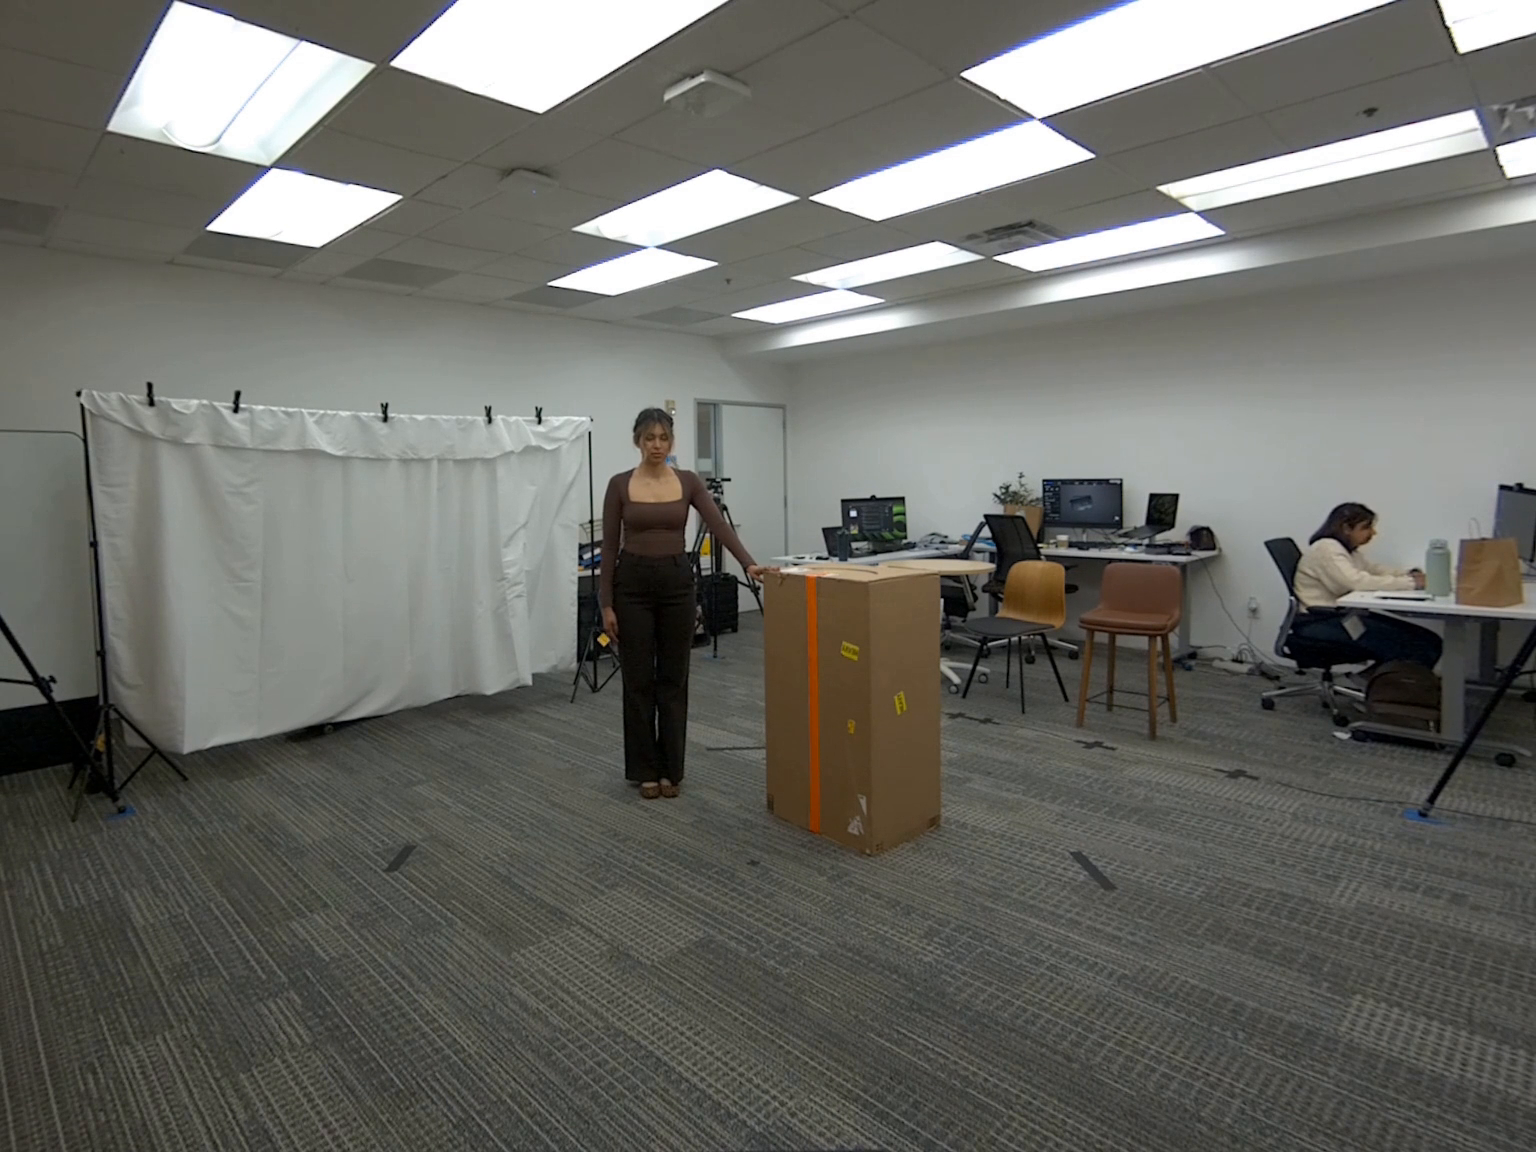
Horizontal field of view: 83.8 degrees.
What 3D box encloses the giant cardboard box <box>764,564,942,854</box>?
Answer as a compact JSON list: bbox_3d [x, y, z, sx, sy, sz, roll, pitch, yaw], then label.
[{"bbox_3d":[0.334,0.486,3.456,0.435,1.023,0.602,-5,6,-39],"label":"giant cardboard box"}]
